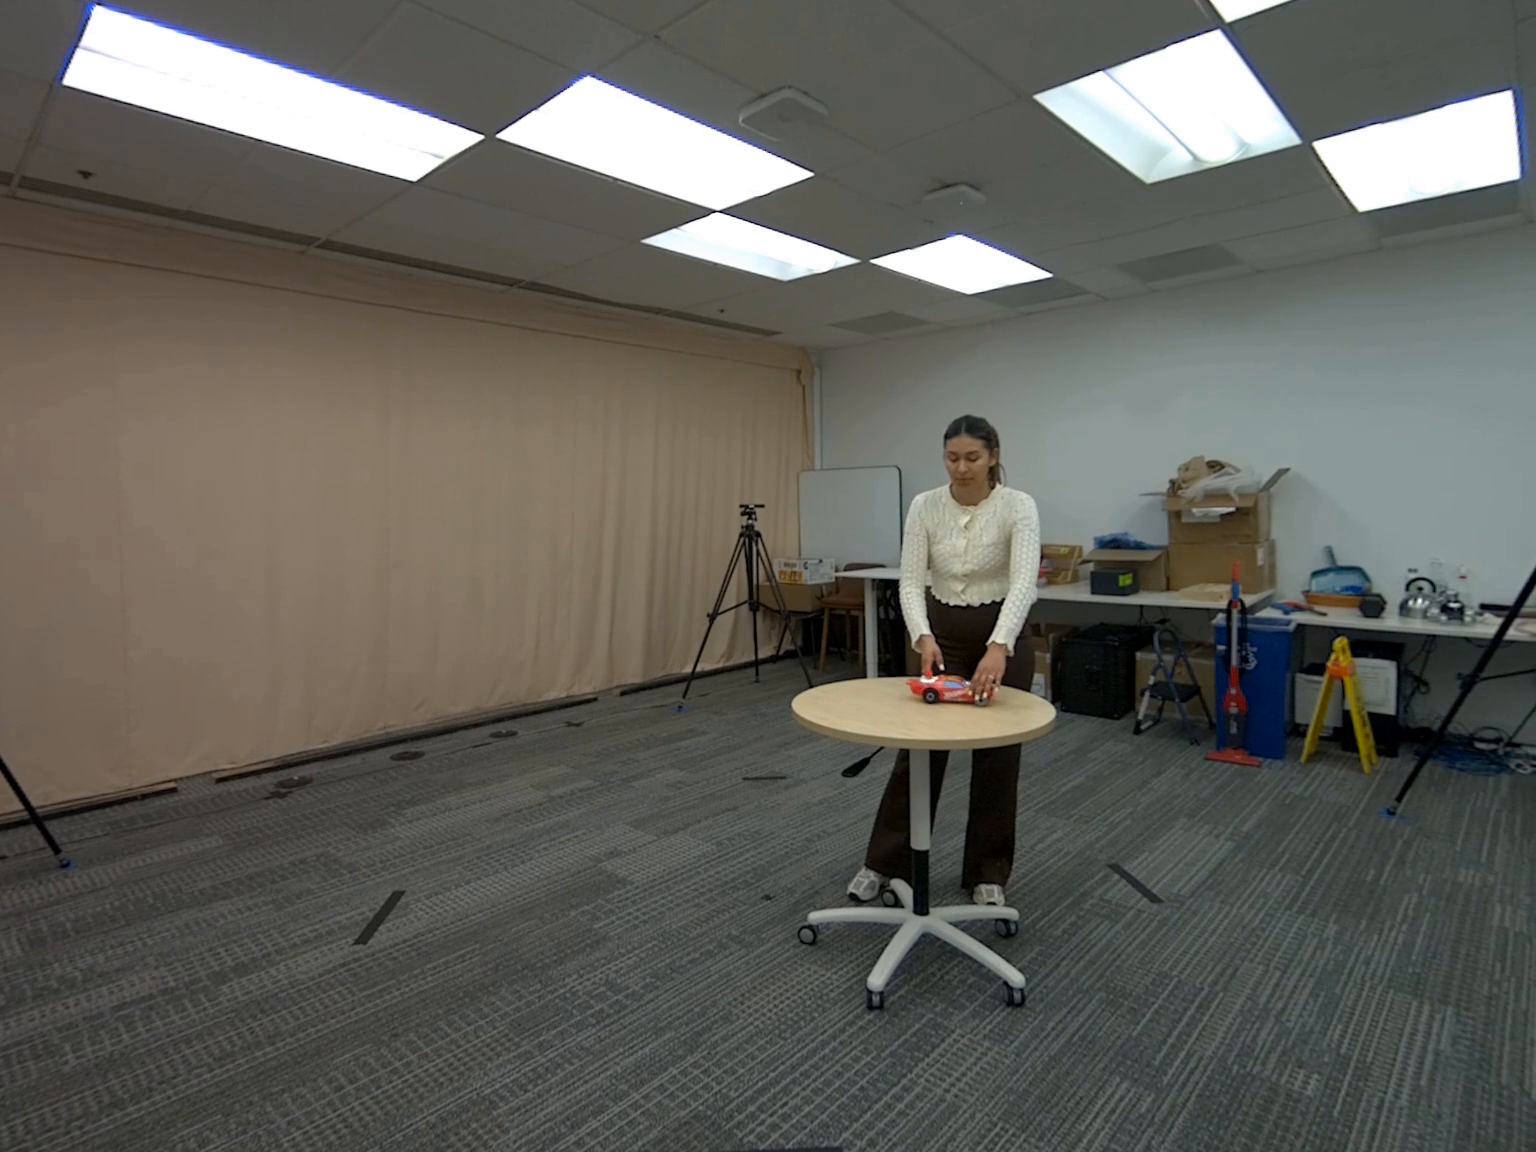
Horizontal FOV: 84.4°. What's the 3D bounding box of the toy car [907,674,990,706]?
[{"bbox_3d":[0.560,0.352,2.548,0.260,0.083,0.128,12,8,19],"label":"toy car"}]
